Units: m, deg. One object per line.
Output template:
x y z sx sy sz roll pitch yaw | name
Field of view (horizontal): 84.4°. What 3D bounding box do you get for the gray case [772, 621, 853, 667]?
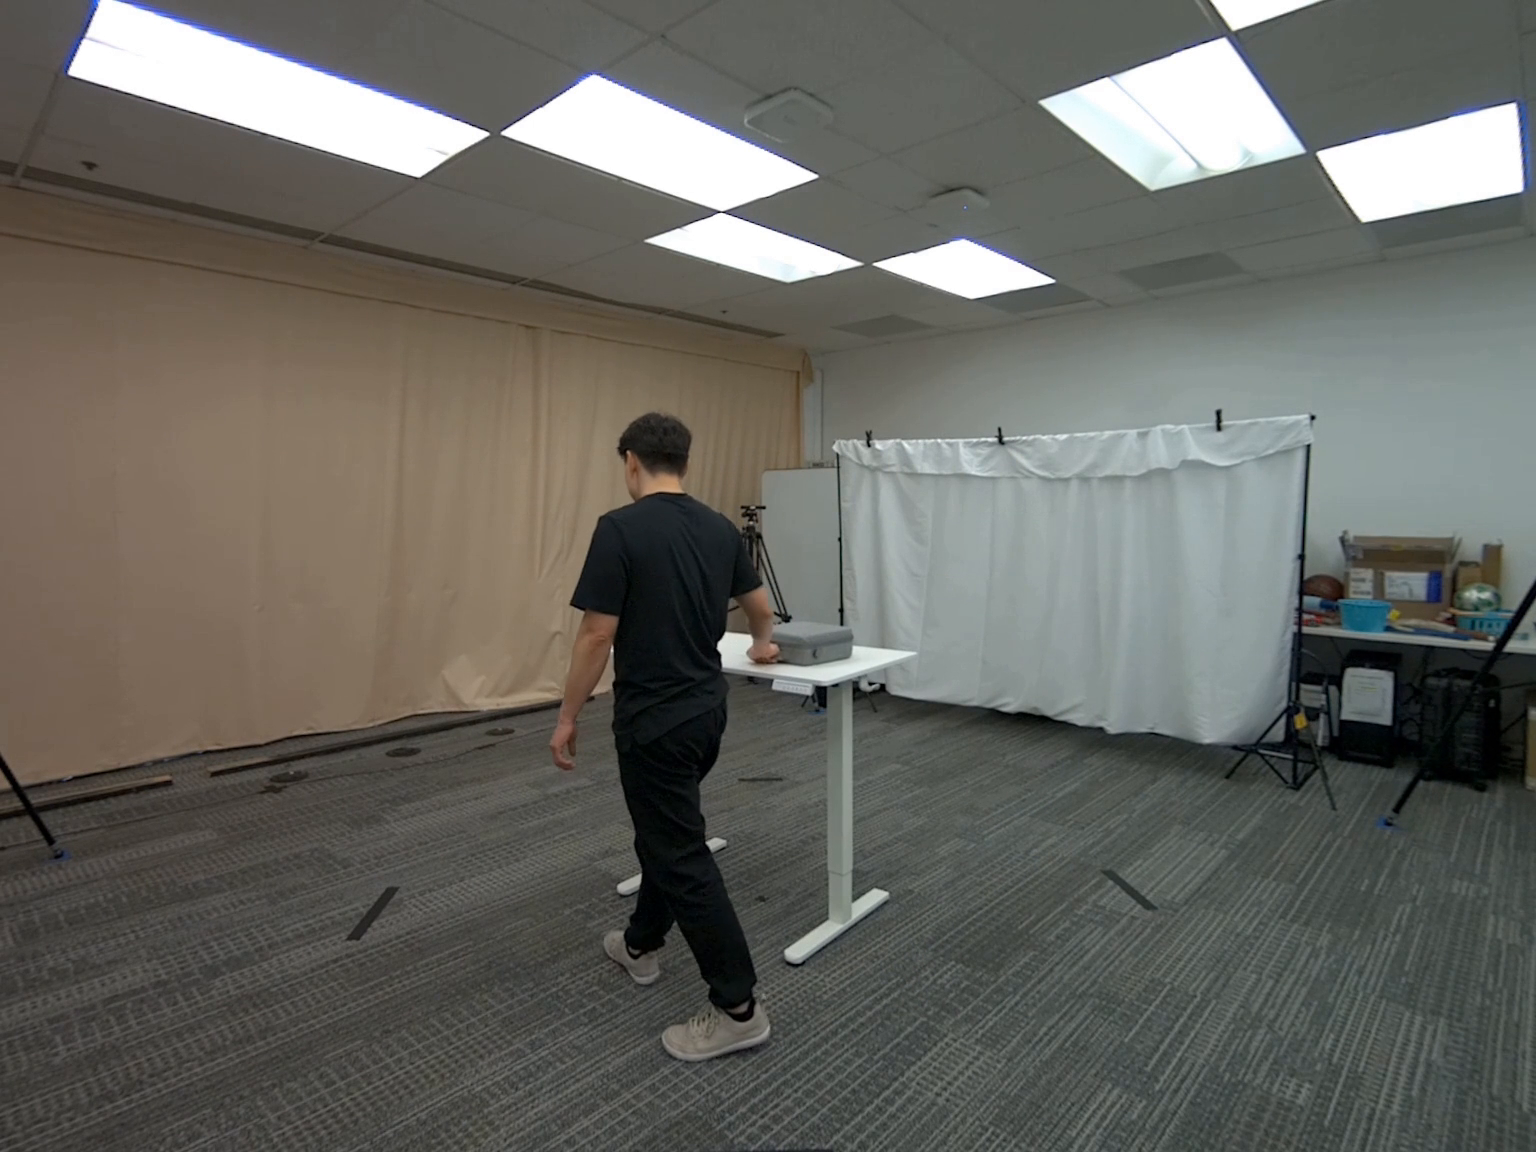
0.119 0.222 2.800 0.253 0.104 0.265 -6 7 -42 | gray case
